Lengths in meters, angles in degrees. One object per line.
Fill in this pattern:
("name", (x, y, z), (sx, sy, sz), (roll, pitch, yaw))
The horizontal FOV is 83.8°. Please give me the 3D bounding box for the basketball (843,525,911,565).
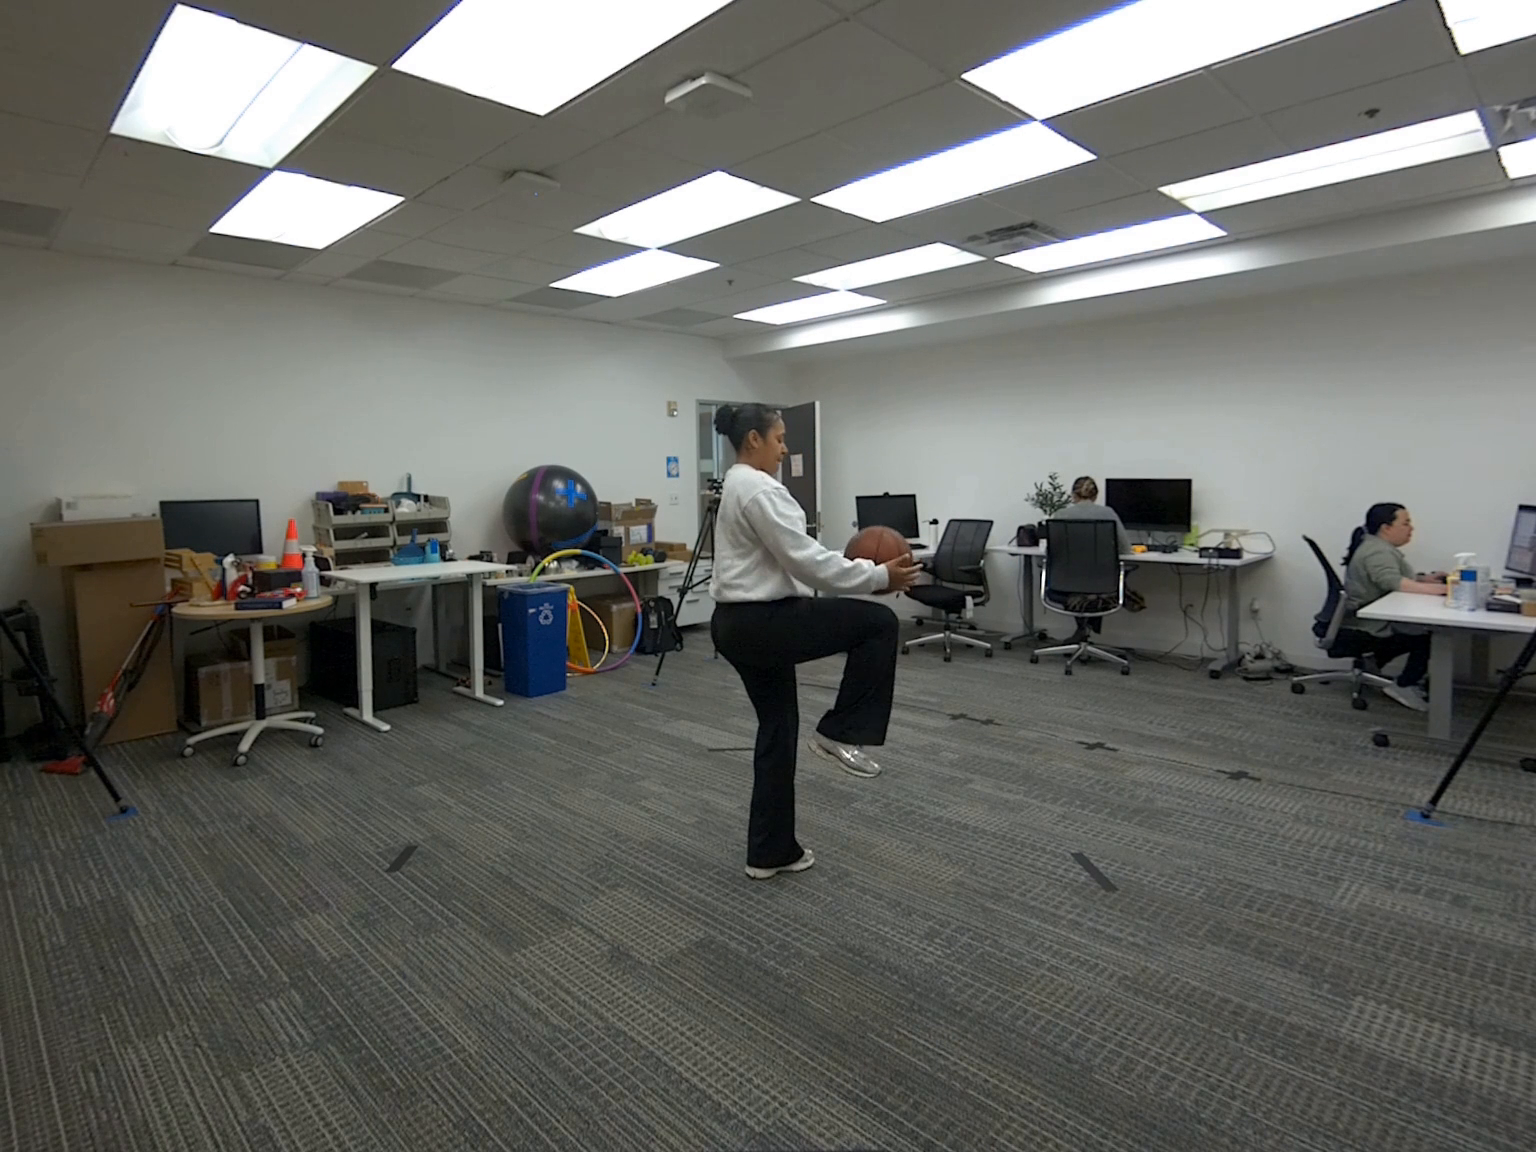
("basketball", (0.382, -0.070, 2.948), (0.236, 0.235, 0.237), (-1, 5, -2))
